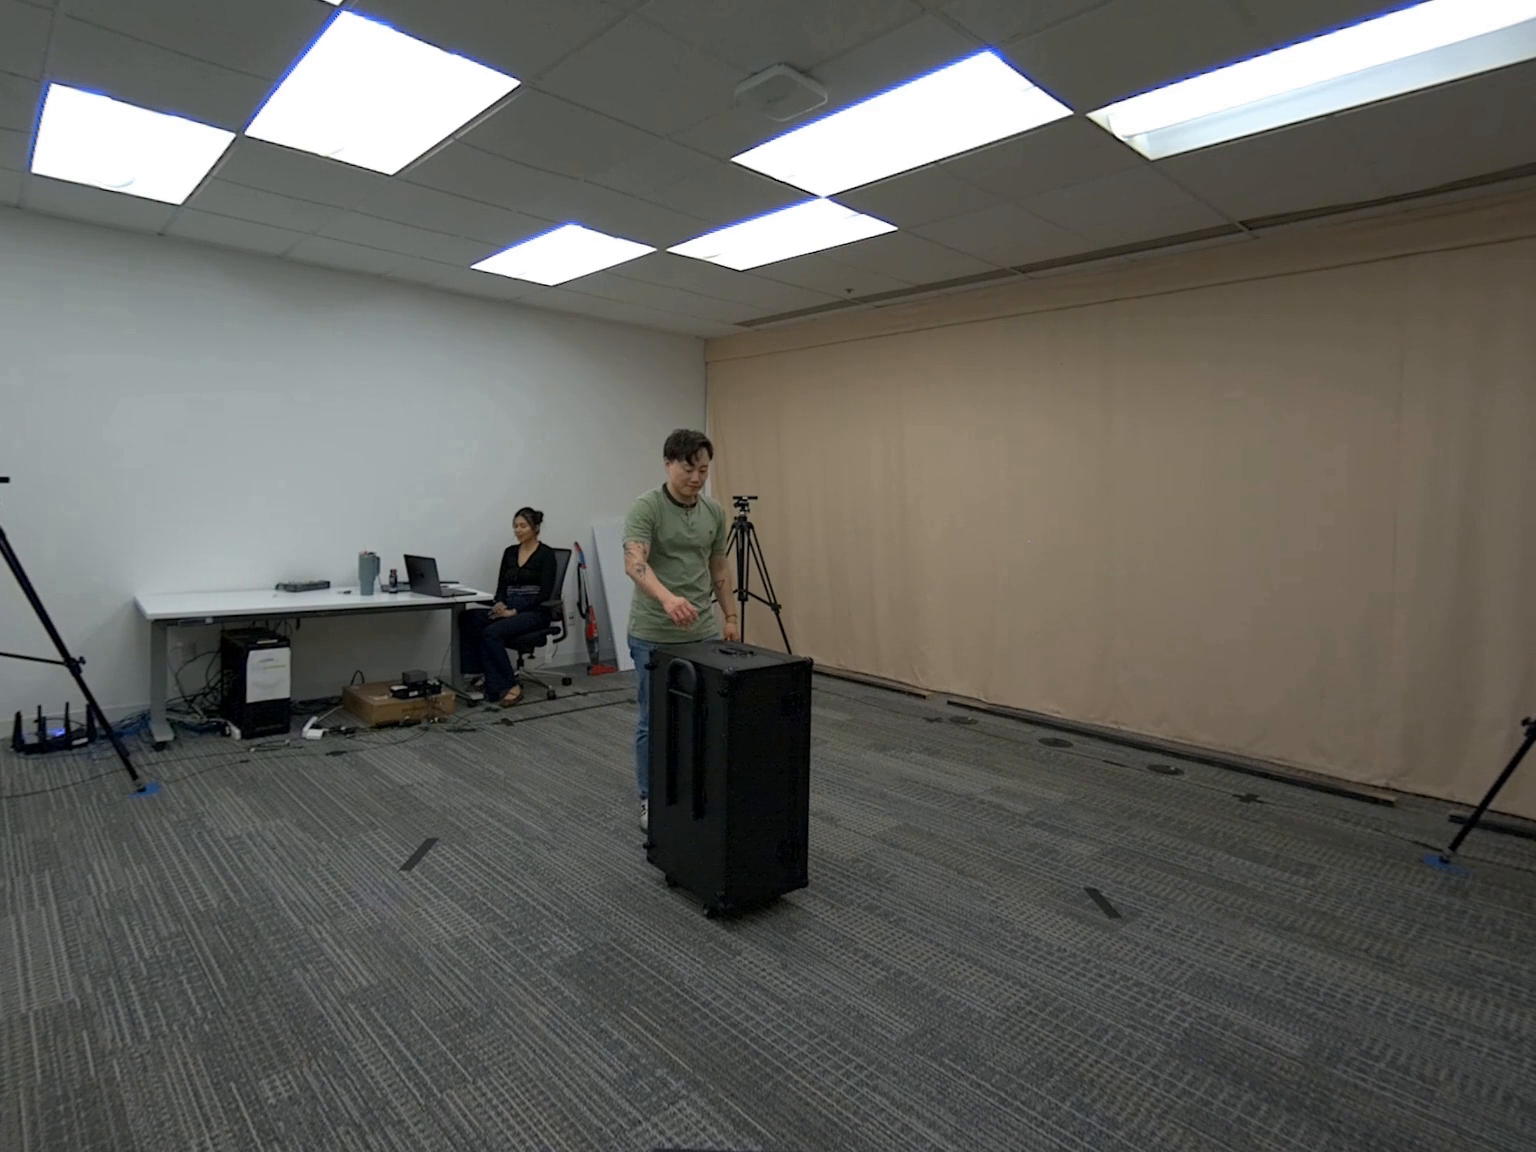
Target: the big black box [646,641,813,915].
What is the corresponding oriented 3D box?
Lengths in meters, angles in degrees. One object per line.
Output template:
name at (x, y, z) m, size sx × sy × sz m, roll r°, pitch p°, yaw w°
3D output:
big black box at (-0.156, 0.696, 2.921) m, size 0.387 × 0.859 × 0.534 m, roll -3°, pitch 5°, yaw -39°
